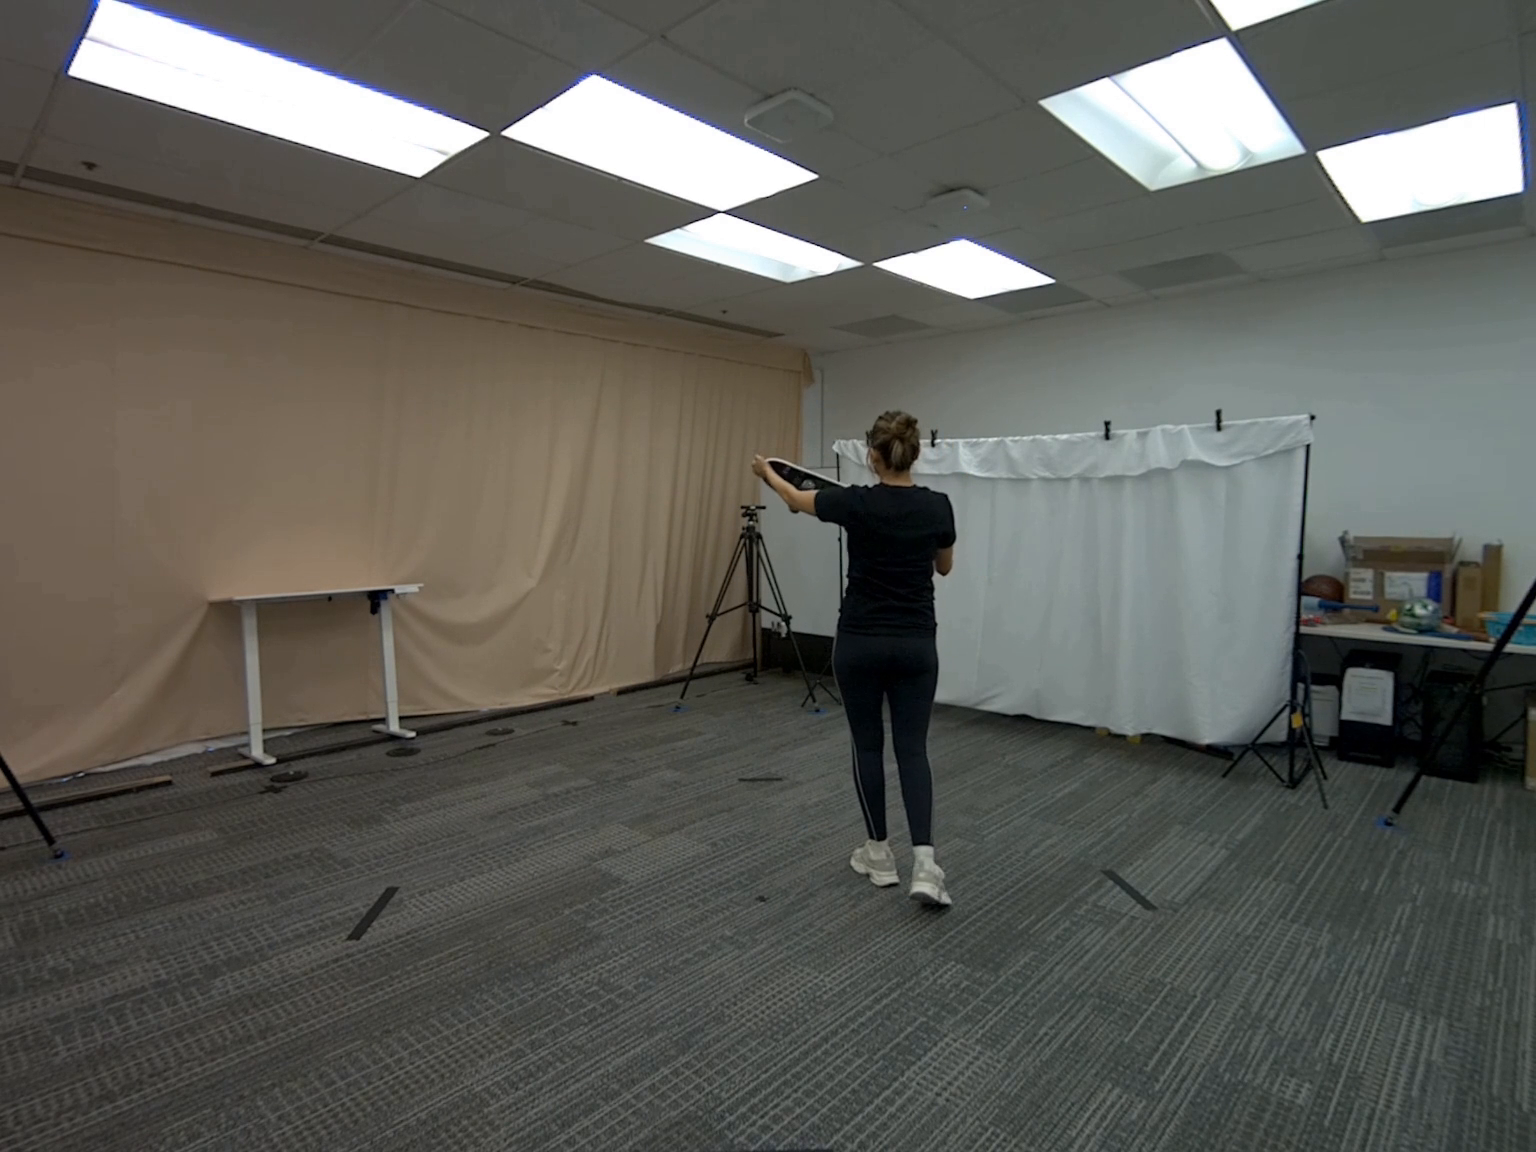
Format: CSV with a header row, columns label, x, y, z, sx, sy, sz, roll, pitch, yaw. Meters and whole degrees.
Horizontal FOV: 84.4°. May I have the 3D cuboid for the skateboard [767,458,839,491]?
label,x,y,z,sx,sy,sz,roll,pitch,yaw
skateboard,0.322,-0.275,3.438,0.781,0.111,0.193,24,-39,-5
